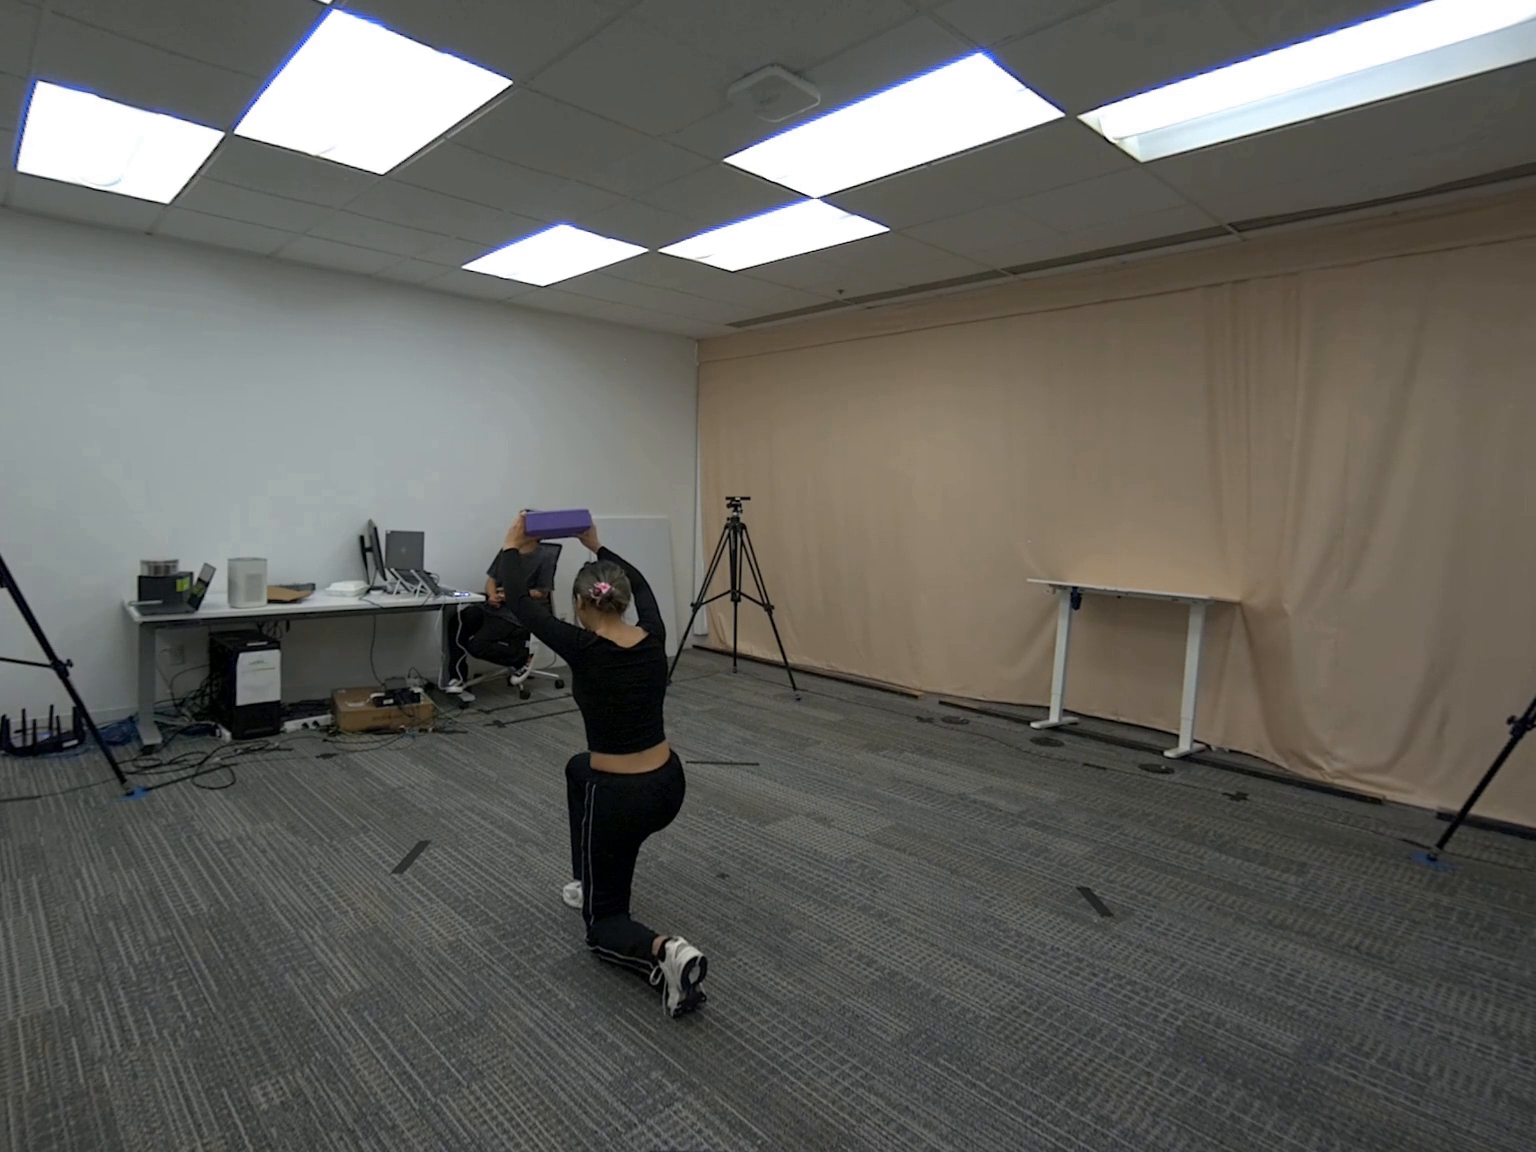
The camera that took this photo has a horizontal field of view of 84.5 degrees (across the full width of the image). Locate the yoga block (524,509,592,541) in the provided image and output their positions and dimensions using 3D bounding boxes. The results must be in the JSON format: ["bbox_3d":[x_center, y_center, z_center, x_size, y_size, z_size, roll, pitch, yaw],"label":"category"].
[{"bbox_3d":[-0.775,-0.182,2.986,0.225,0.077,0.150,-7,-8,-31],"label":"yoga block"}]
